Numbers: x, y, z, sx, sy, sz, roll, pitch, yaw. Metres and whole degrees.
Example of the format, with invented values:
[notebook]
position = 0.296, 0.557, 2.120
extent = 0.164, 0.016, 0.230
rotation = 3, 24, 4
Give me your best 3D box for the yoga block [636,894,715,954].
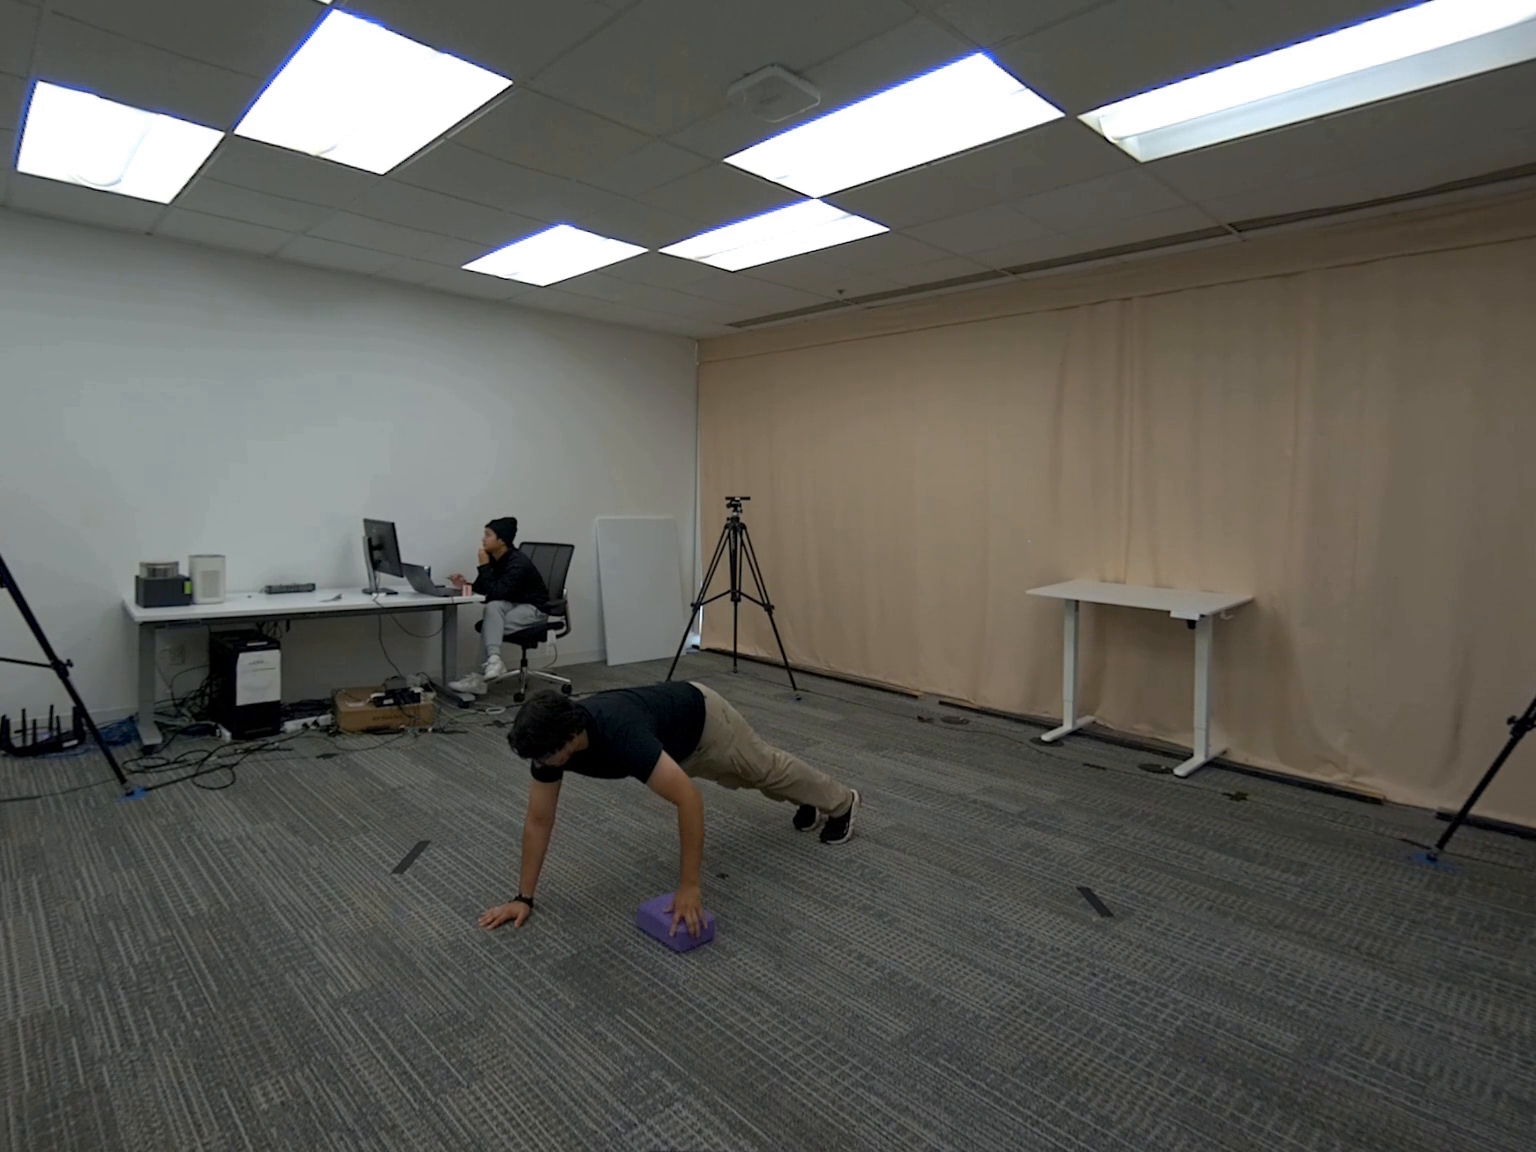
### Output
[yoga block]
position = -0.311, 1.104, 2.682
extent = 0.235, 0.076, 0.145
rotation = 7, 8, 44
